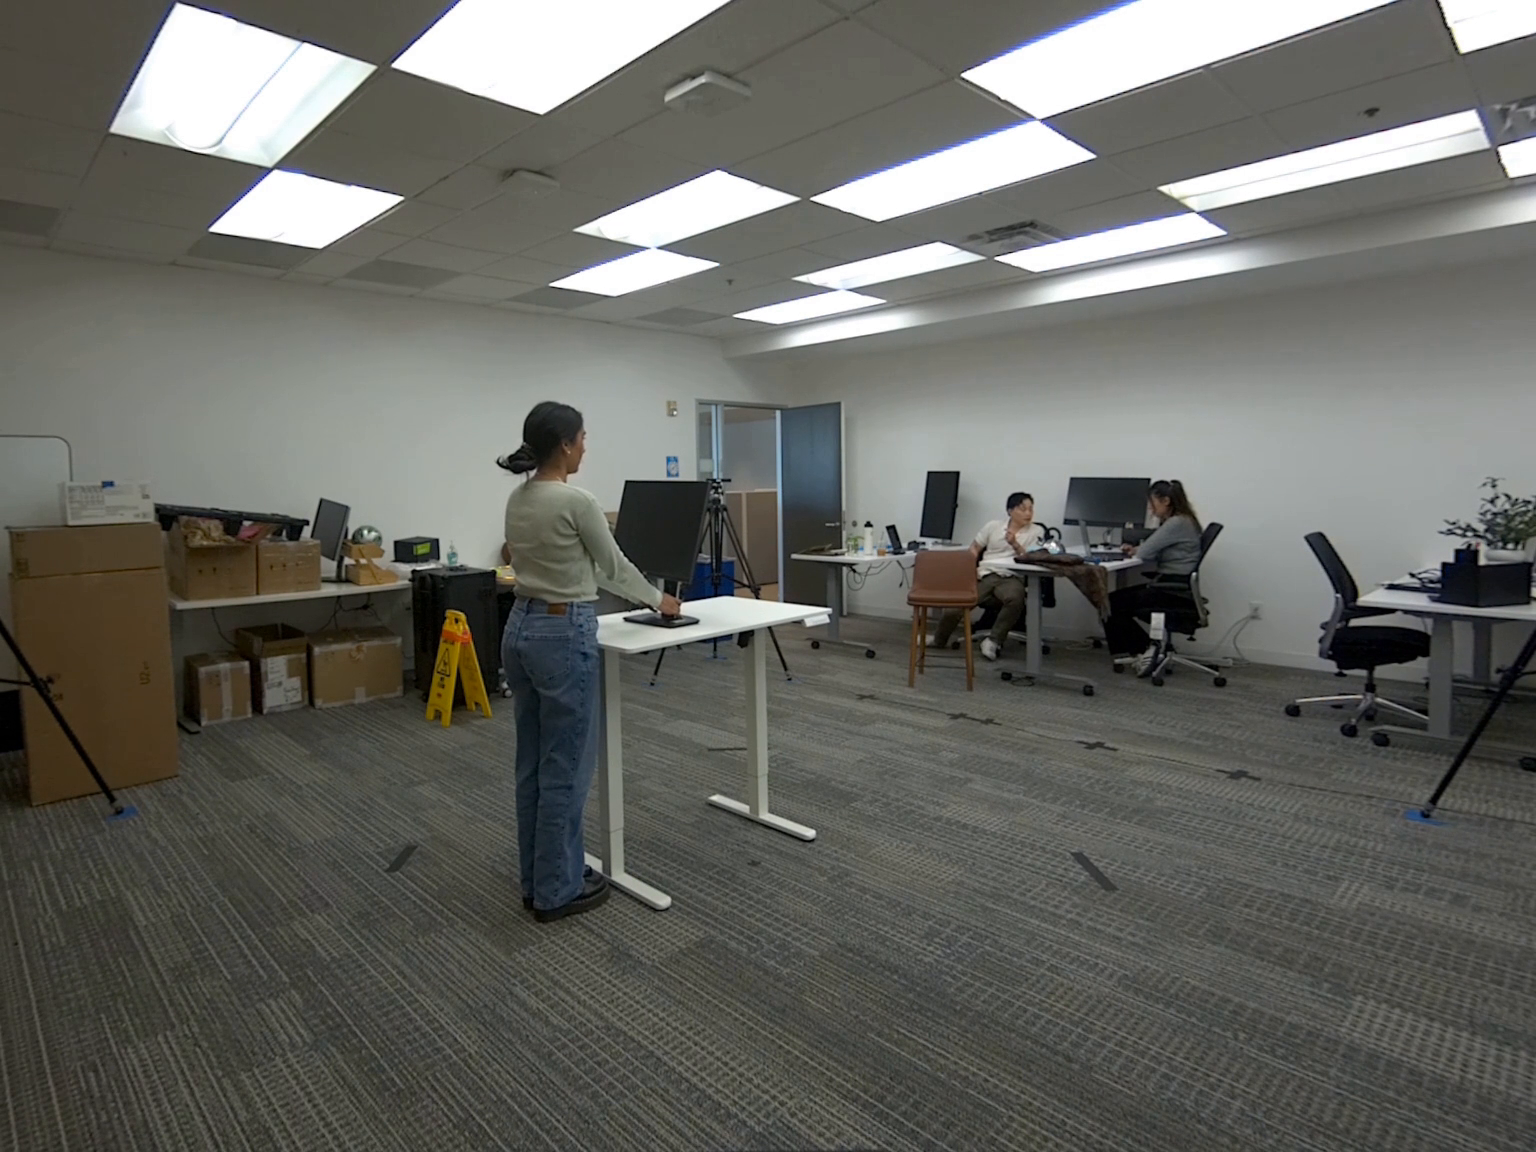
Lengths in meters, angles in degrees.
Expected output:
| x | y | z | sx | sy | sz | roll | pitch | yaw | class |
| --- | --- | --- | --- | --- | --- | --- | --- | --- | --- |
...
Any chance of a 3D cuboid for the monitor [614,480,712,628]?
| x | y | z | sx | sy | sz | roll | pitch | yaw | class |
| --- | --- | --- | --- | --- | --- | --- | --- | --- | --- |
| -0.377 | -0.085 | 3.119 | 0.182 | 0.521 | 0.556 | -3 | 5 | -43 | monitor |
